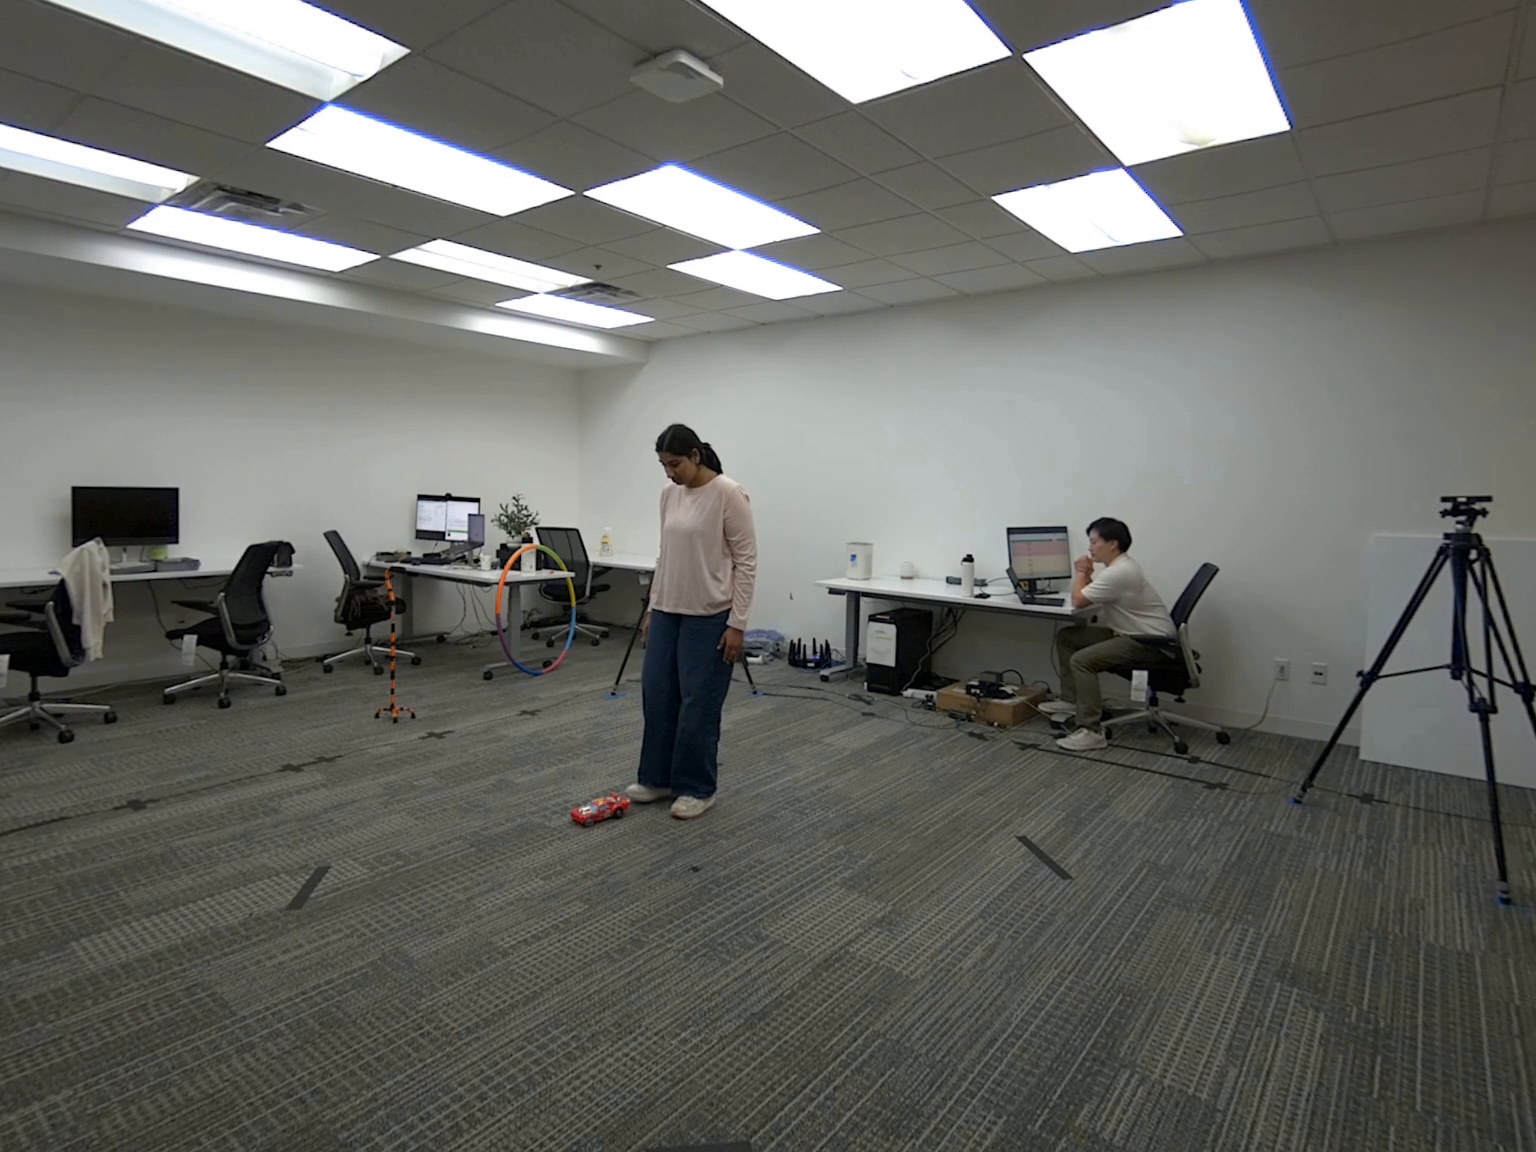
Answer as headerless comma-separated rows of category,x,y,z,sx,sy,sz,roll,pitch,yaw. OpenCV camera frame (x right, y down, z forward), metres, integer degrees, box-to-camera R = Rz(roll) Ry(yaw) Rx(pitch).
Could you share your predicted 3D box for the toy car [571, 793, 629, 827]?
toy car,-0.713,0.983,3.576,0.249,0.082,0.135,-19,15,-39
